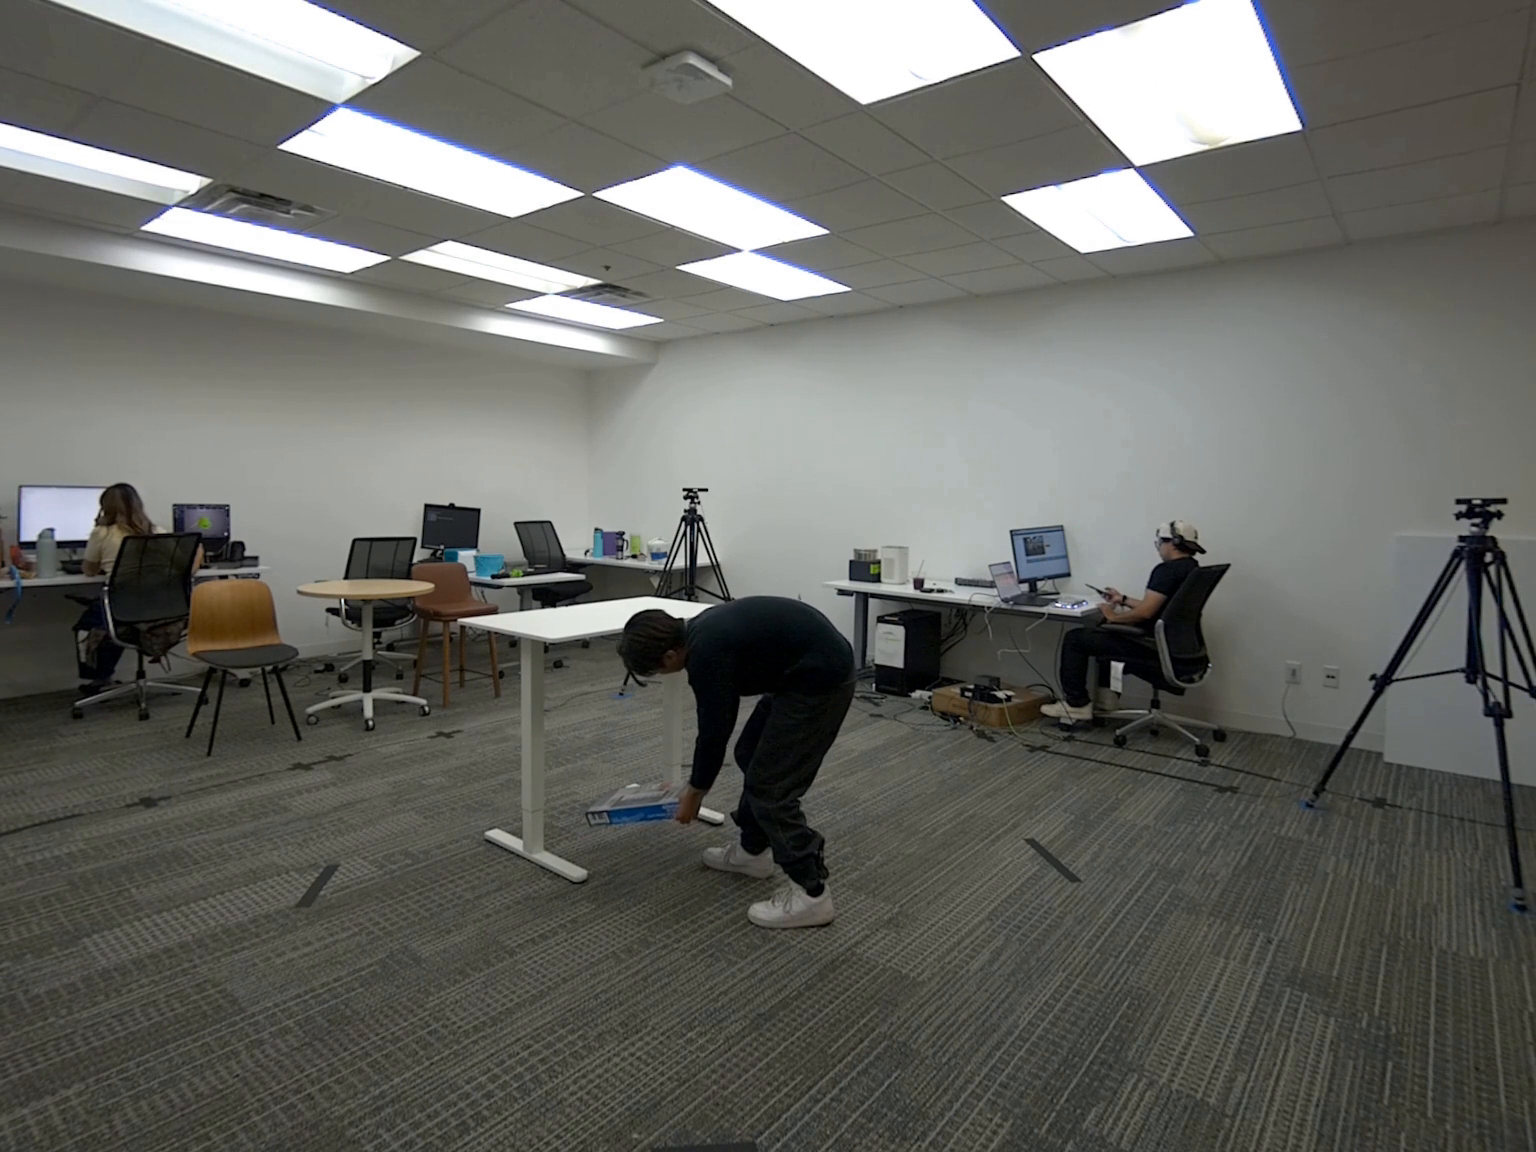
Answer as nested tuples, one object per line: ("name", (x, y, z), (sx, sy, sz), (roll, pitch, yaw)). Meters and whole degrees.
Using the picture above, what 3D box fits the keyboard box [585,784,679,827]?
("keyboard box", (-0.461, 0.829, 3.104), (0.445, 0.058, 0.174), (-14, 11, 30))
